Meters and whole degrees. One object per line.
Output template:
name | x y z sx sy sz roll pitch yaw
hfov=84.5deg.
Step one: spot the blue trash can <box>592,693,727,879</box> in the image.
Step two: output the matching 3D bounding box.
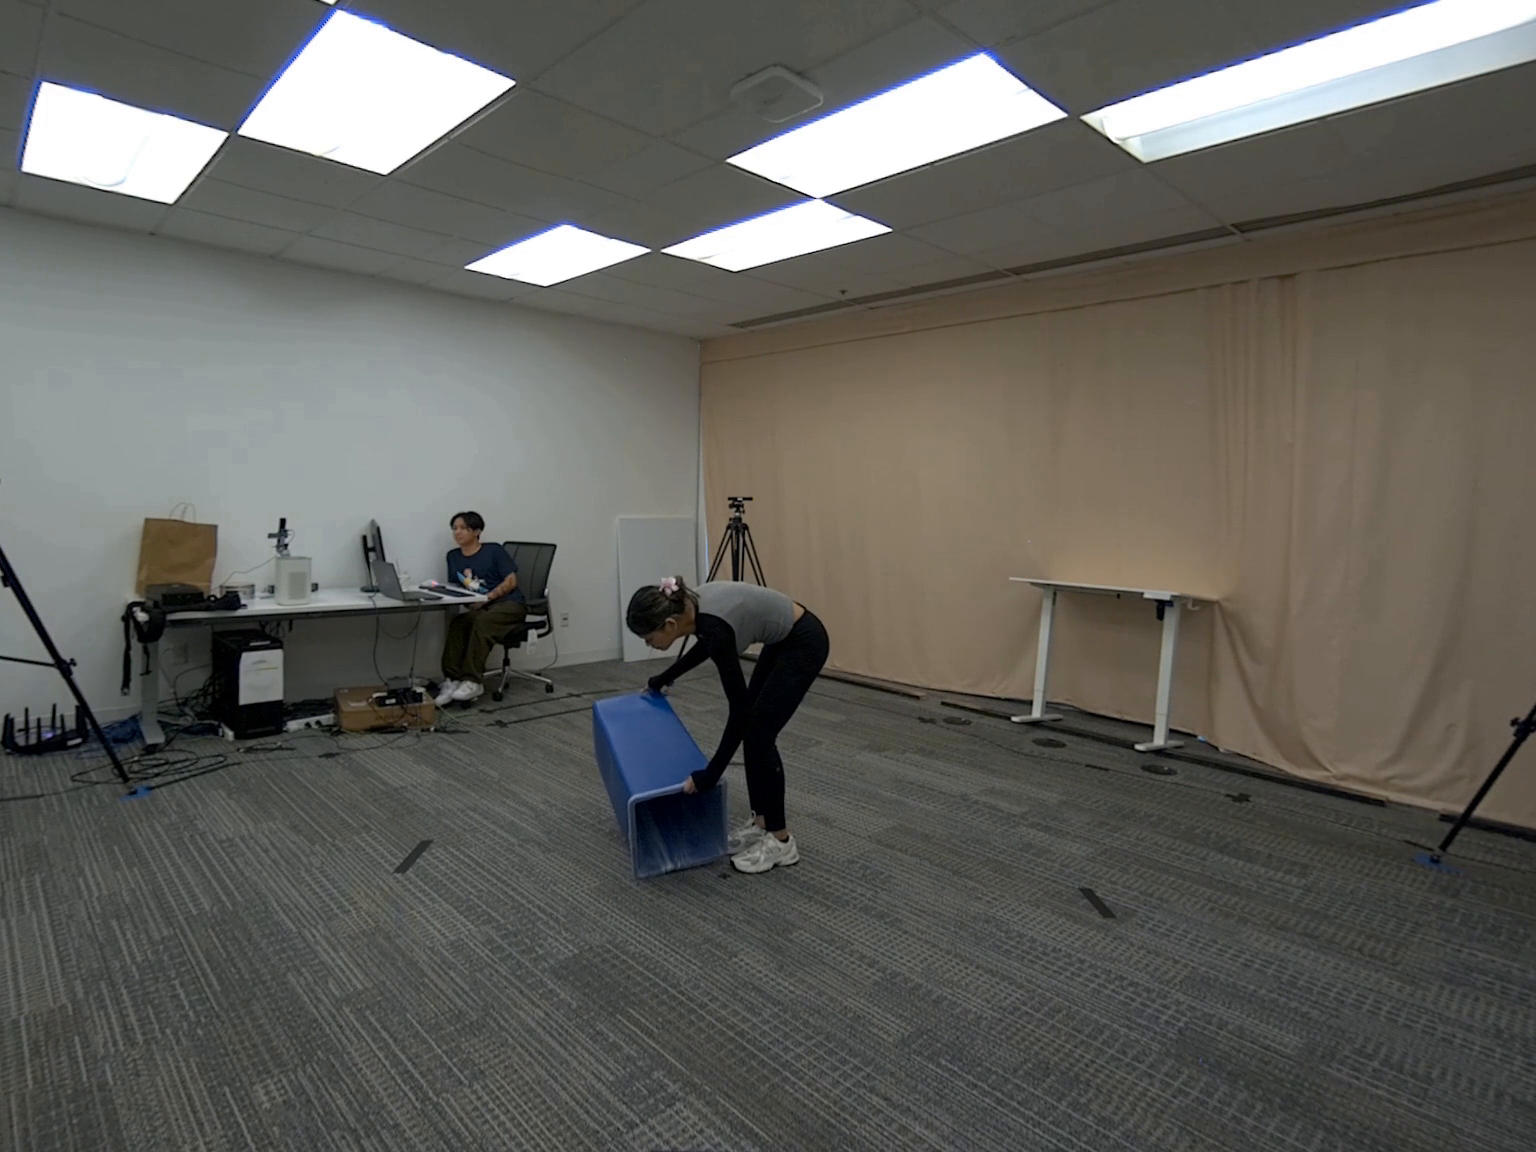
blue trash can | -0.471 0.776 3.347 0.373 0.368 0.735 -9 27 -22
